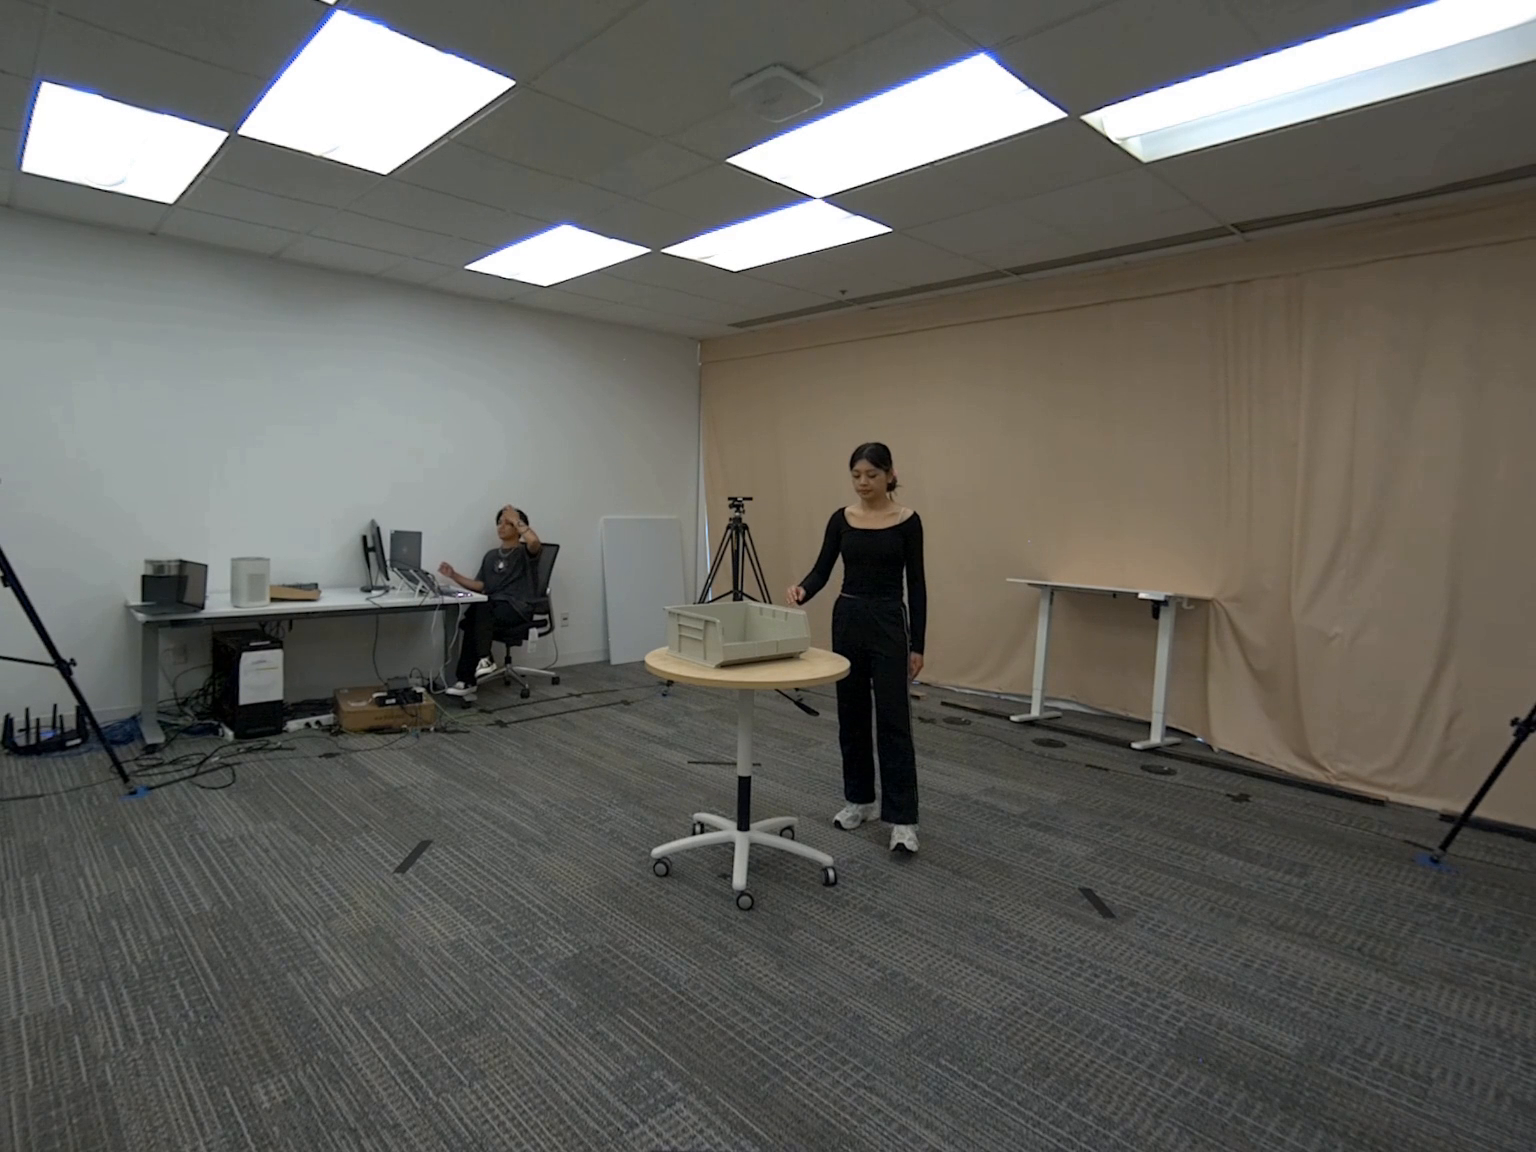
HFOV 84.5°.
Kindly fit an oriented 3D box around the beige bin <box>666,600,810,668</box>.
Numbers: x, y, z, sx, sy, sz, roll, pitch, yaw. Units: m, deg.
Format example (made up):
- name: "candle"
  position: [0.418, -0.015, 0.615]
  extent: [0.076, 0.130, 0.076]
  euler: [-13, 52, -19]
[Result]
- name: "beige bin"
  position: [-0.123, 0.219, 3.187]
  extent: [0.413, 0.188, 0.387]
  euler: [-3, 6, -39]
